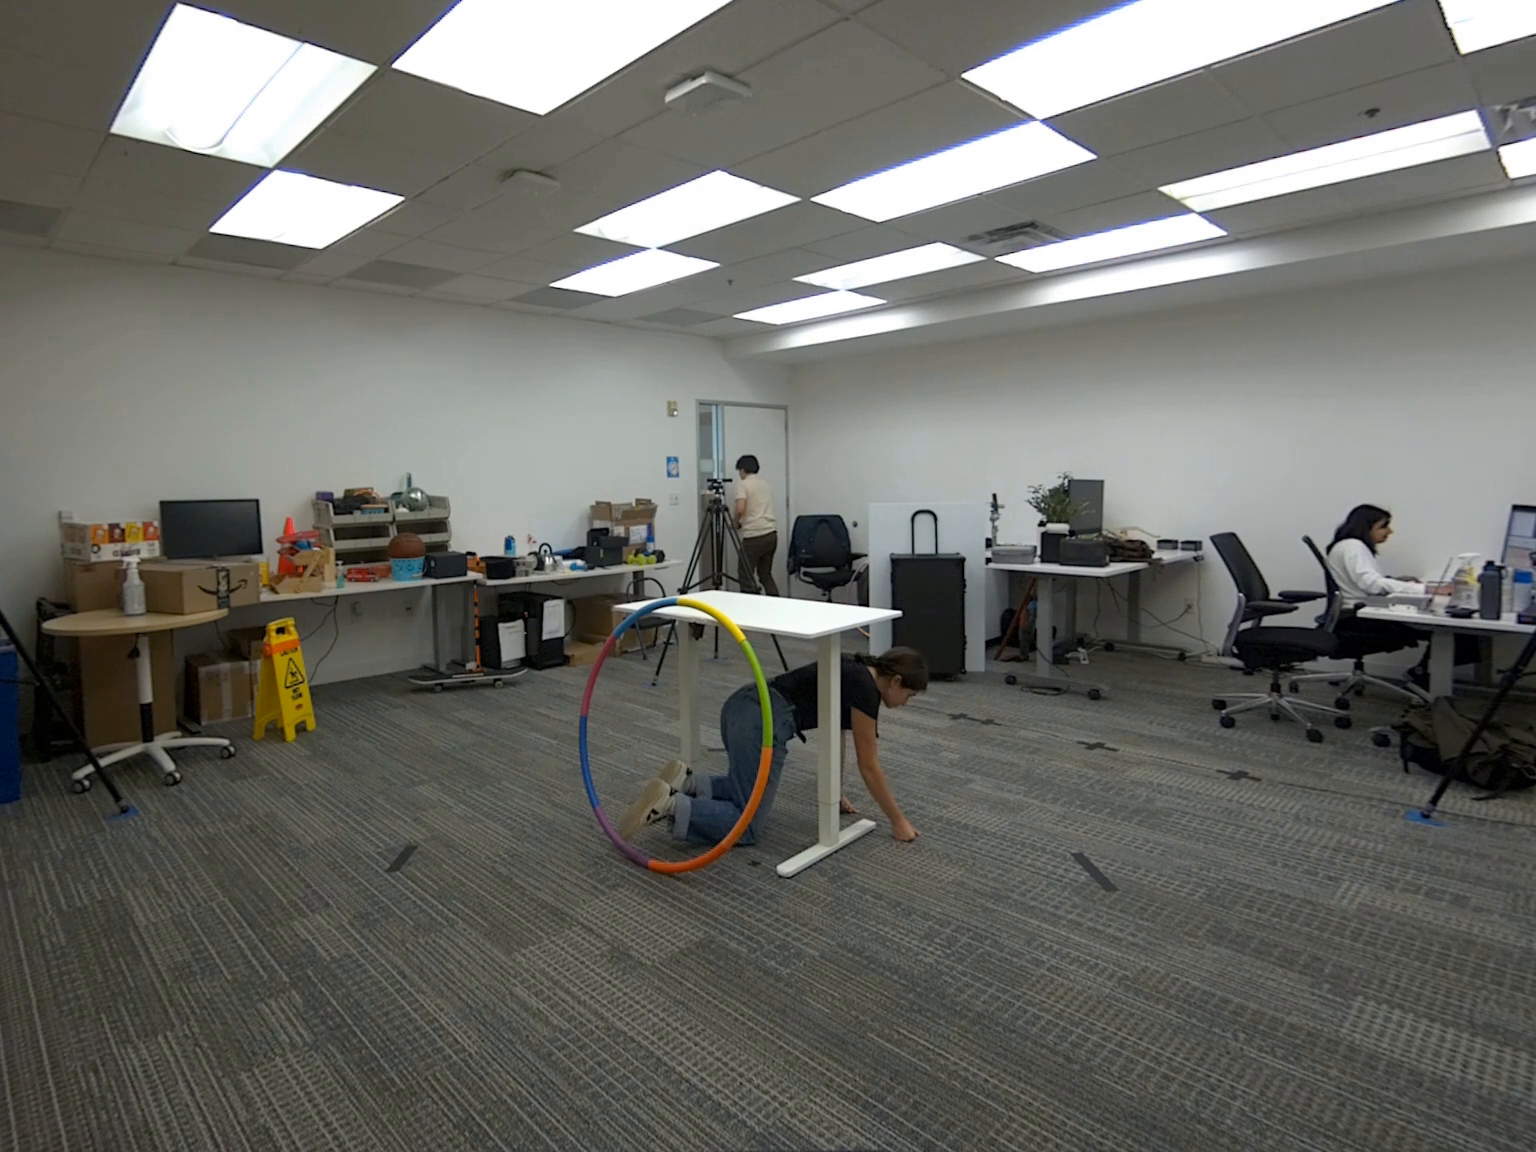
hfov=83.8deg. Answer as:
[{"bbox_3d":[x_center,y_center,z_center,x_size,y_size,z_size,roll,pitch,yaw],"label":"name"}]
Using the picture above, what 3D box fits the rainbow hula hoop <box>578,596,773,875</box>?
[{"bbox_3d":[-0.373,0.571,3.158,1.008,0.984,0.034,3,-9,41],"label":"rainbow hula hoop"}]
